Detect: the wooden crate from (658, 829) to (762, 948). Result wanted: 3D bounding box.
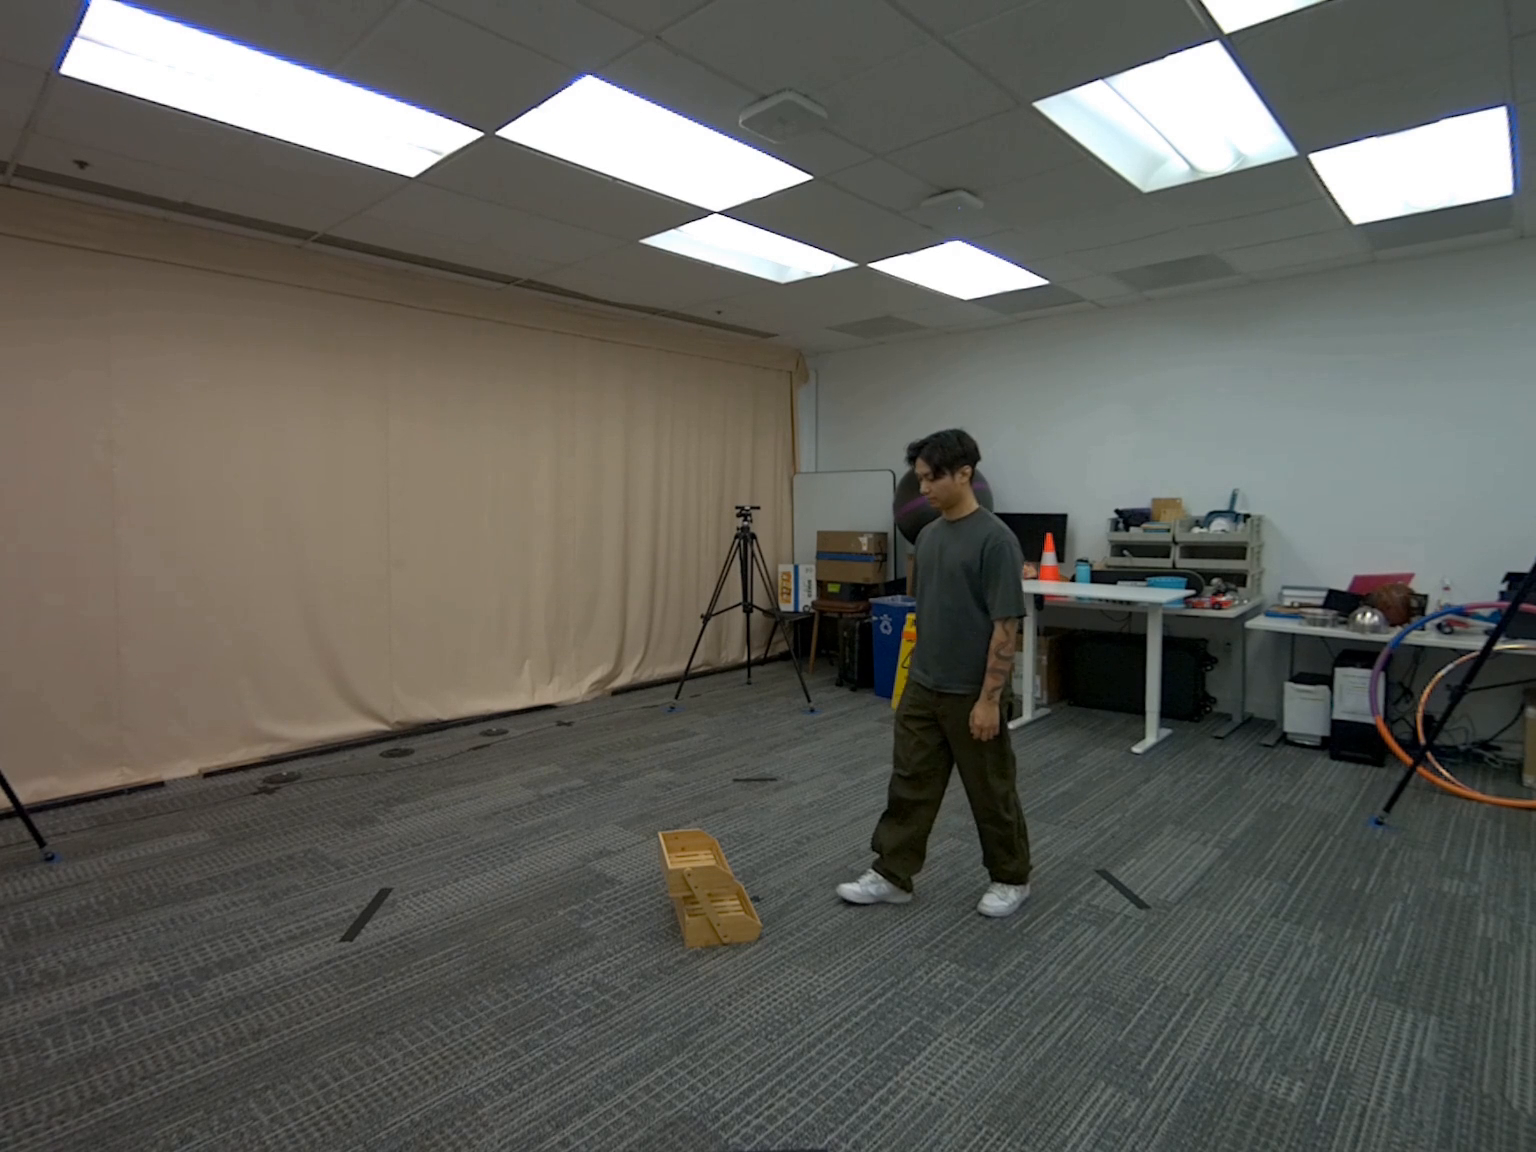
[{"bbox_3d":[-0.195,1.030,2.815,0.298,0.273,0.329,-1,4,-13],"label":"wooden crate"}]
